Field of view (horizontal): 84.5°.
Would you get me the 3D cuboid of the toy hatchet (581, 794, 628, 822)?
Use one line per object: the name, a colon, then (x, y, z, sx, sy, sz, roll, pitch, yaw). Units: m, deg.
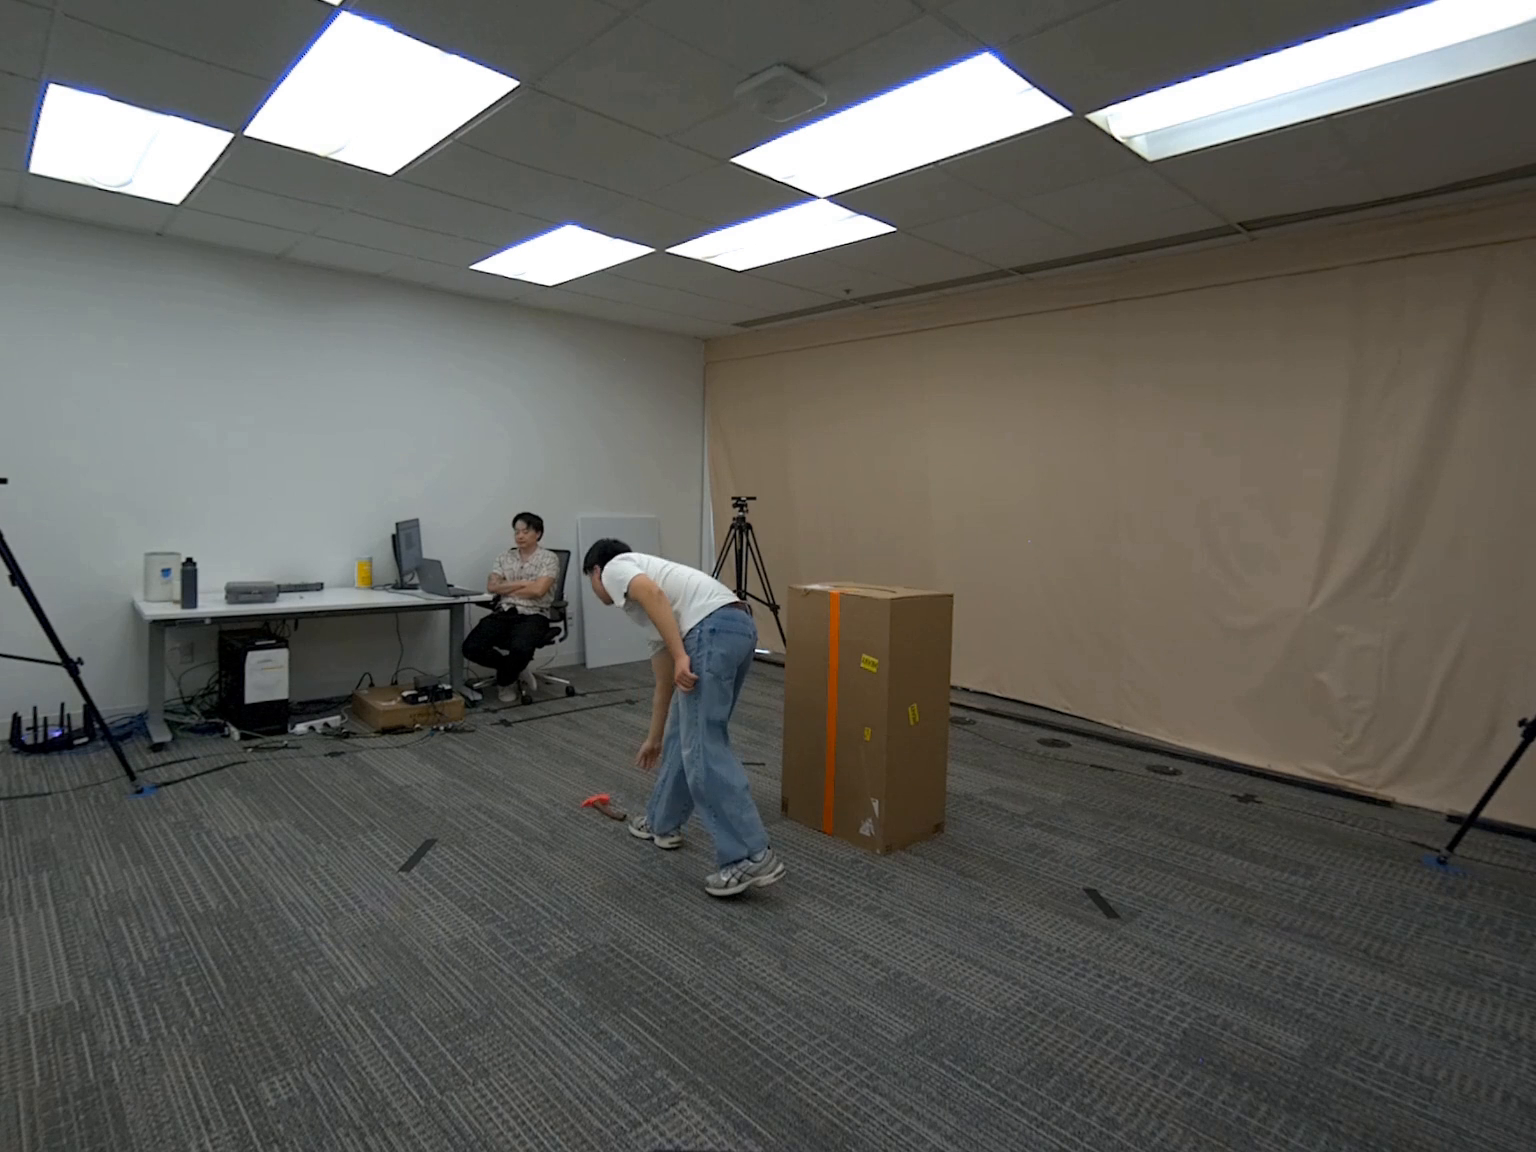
toy hatchet: (-0.698, 1.003, 3.716, 0.277, 0.029, 0.129, 6, 17, 38)
